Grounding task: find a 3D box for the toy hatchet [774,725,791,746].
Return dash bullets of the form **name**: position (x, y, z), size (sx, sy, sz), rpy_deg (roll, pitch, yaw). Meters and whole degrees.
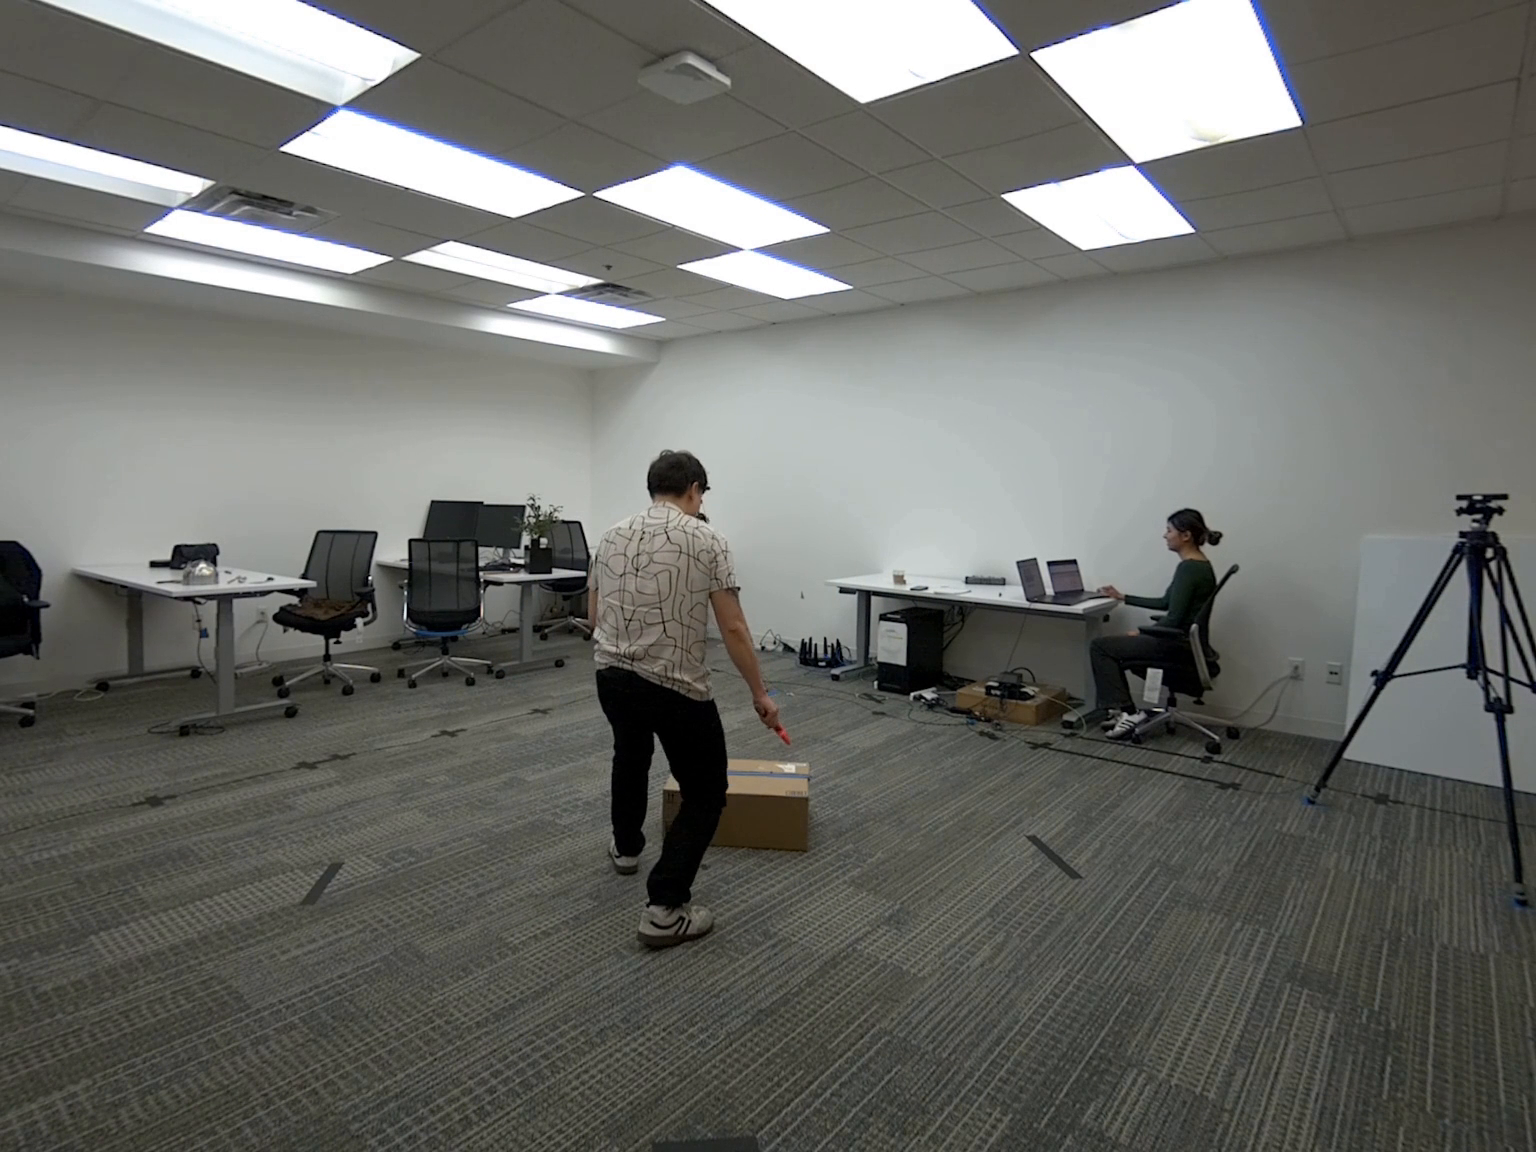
- **toy hatchet**: position (0.008, 0.492, 2.718), size (0.029, 0.135, 0.262), rpy_deg (-35, -20, 2)
